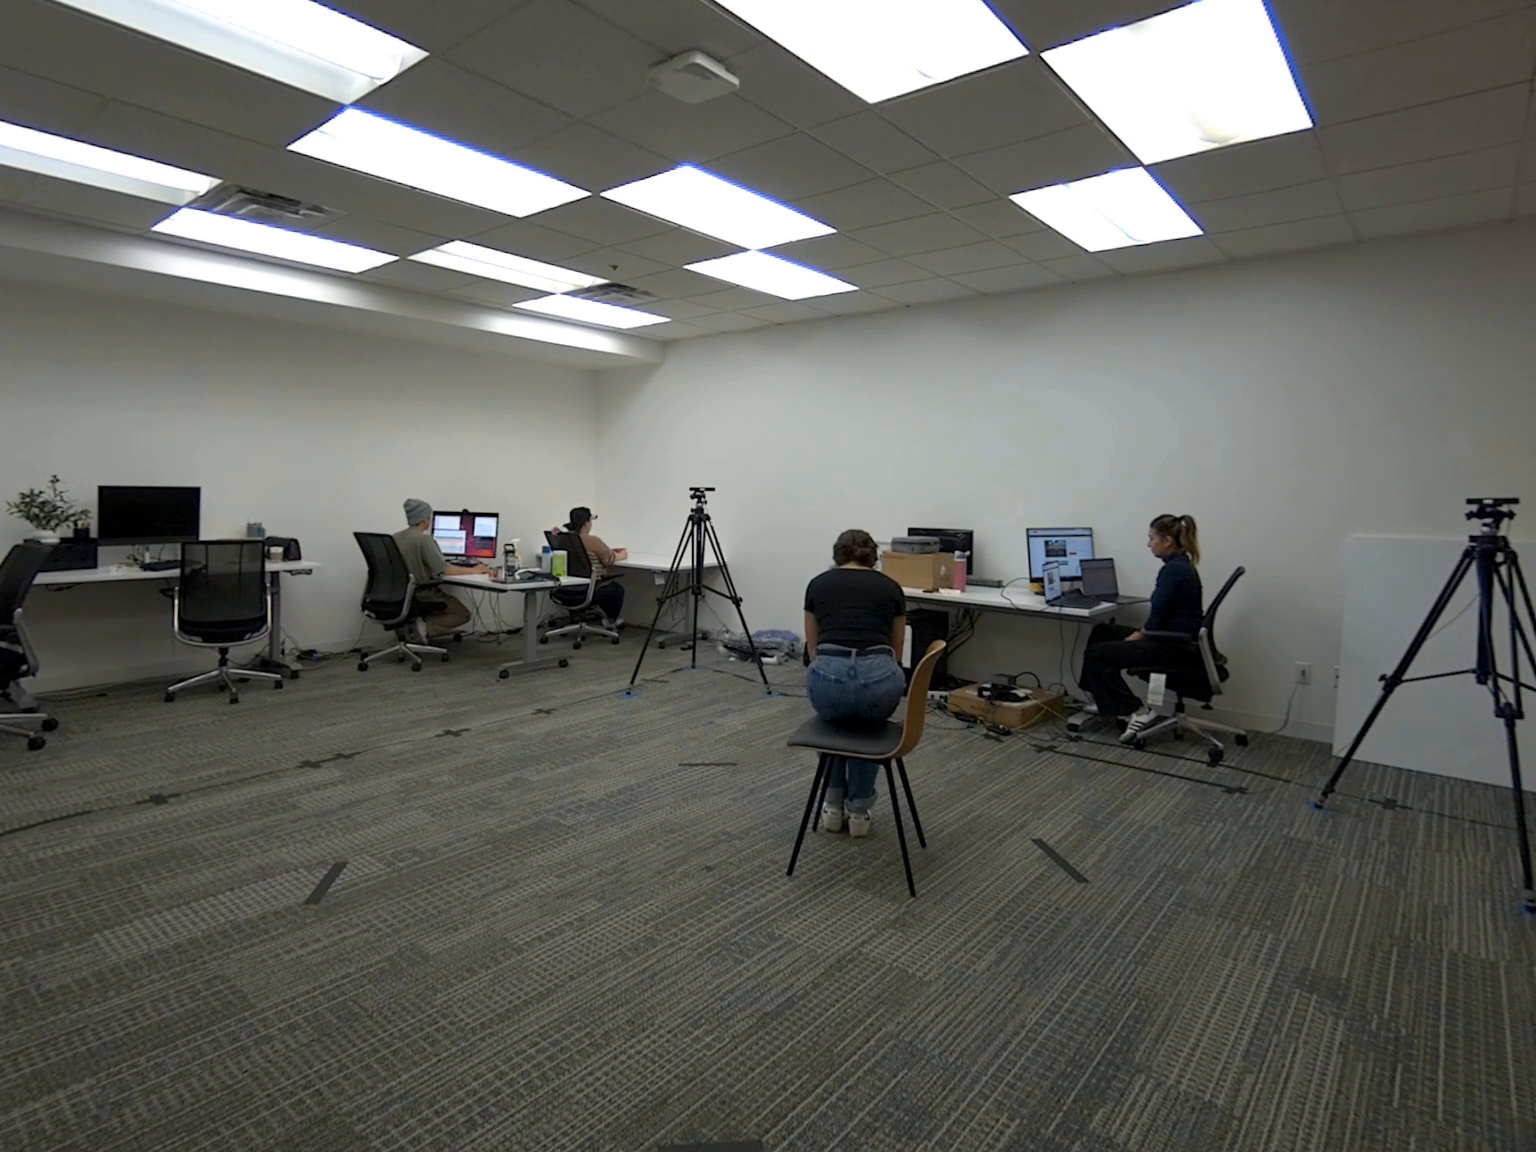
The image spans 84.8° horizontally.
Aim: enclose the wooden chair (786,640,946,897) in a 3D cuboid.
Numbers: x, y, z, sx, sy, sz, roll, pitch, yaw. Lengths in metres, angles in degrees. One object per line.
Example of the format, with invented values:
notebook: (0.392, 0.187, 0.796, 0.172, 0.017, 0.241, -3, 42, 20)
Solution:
wooden chair: (0.340, 0.647, 3.177, 0.534, 0.875, 0.470, 7, 4, 17)
